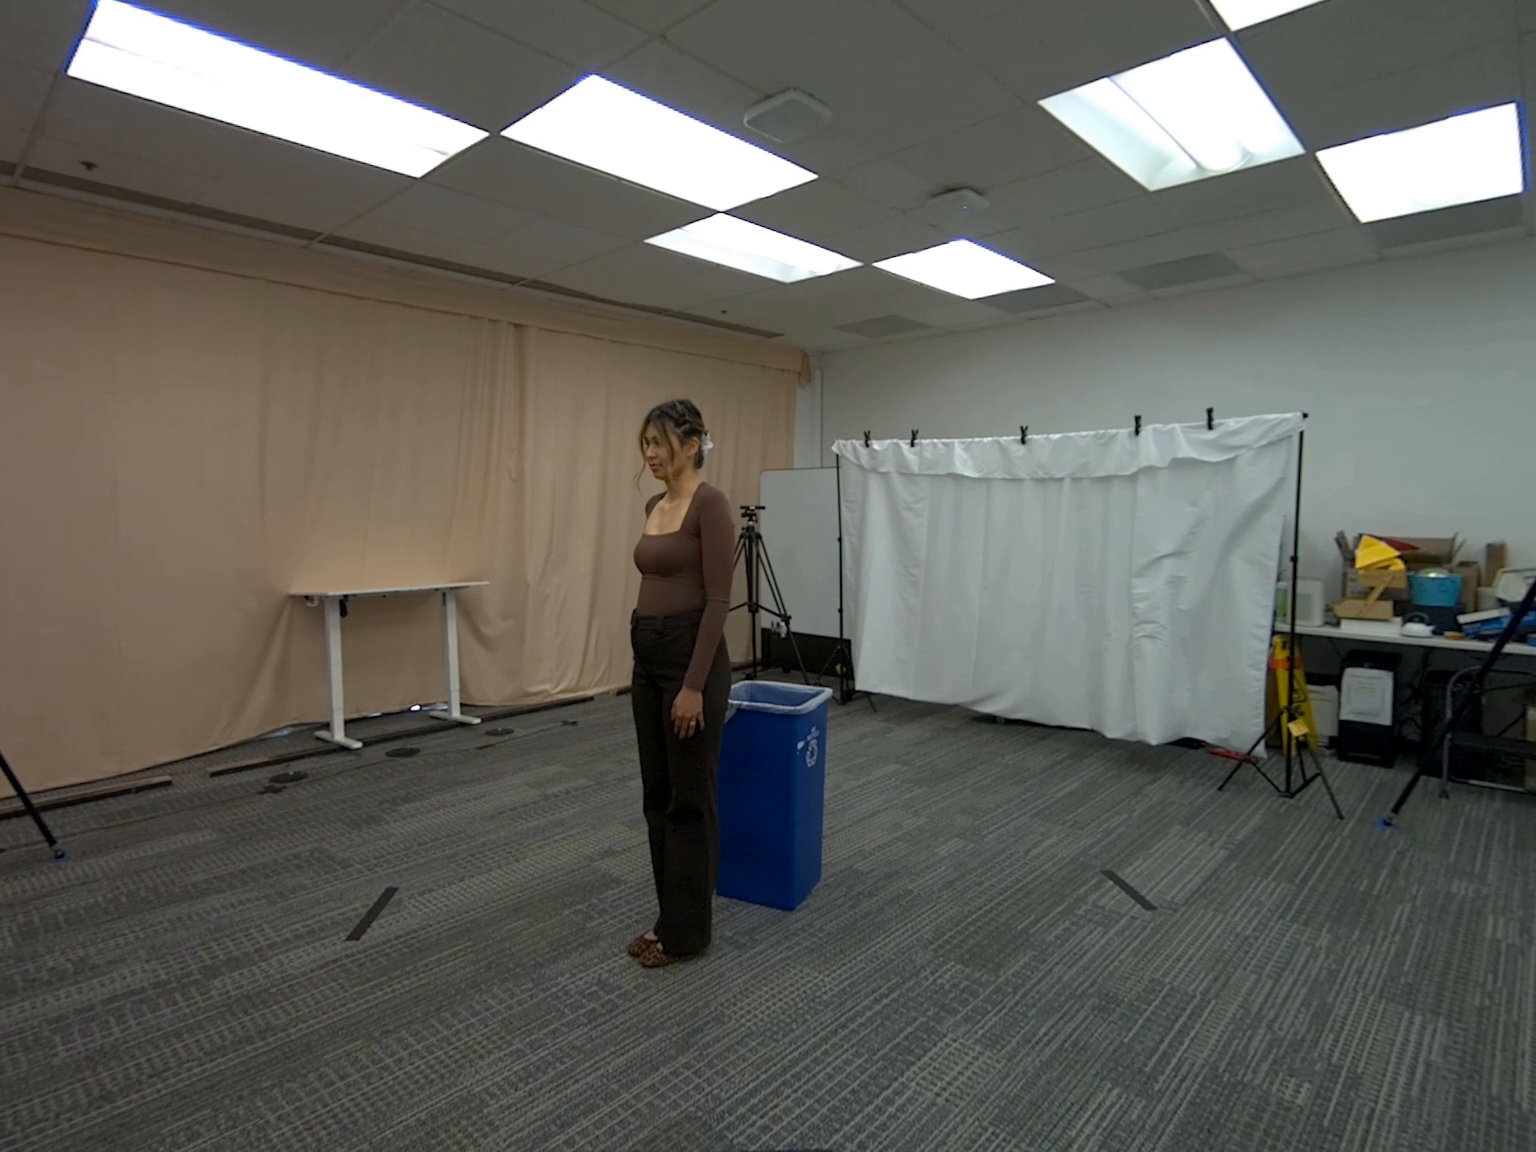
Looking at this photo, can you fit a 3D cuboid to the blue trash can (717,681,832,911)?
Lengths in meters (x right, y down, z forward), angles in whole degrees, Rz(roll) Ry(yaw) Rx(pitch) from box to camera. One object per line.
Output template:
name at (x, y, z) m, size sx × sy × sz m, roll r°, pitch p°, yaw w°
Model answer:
blue trash can at (0.005, 0.778, 3.062) m, size 0.384 × 0.712 × 0.369 m, roll 3°, pitch 4°, yaw 24°
